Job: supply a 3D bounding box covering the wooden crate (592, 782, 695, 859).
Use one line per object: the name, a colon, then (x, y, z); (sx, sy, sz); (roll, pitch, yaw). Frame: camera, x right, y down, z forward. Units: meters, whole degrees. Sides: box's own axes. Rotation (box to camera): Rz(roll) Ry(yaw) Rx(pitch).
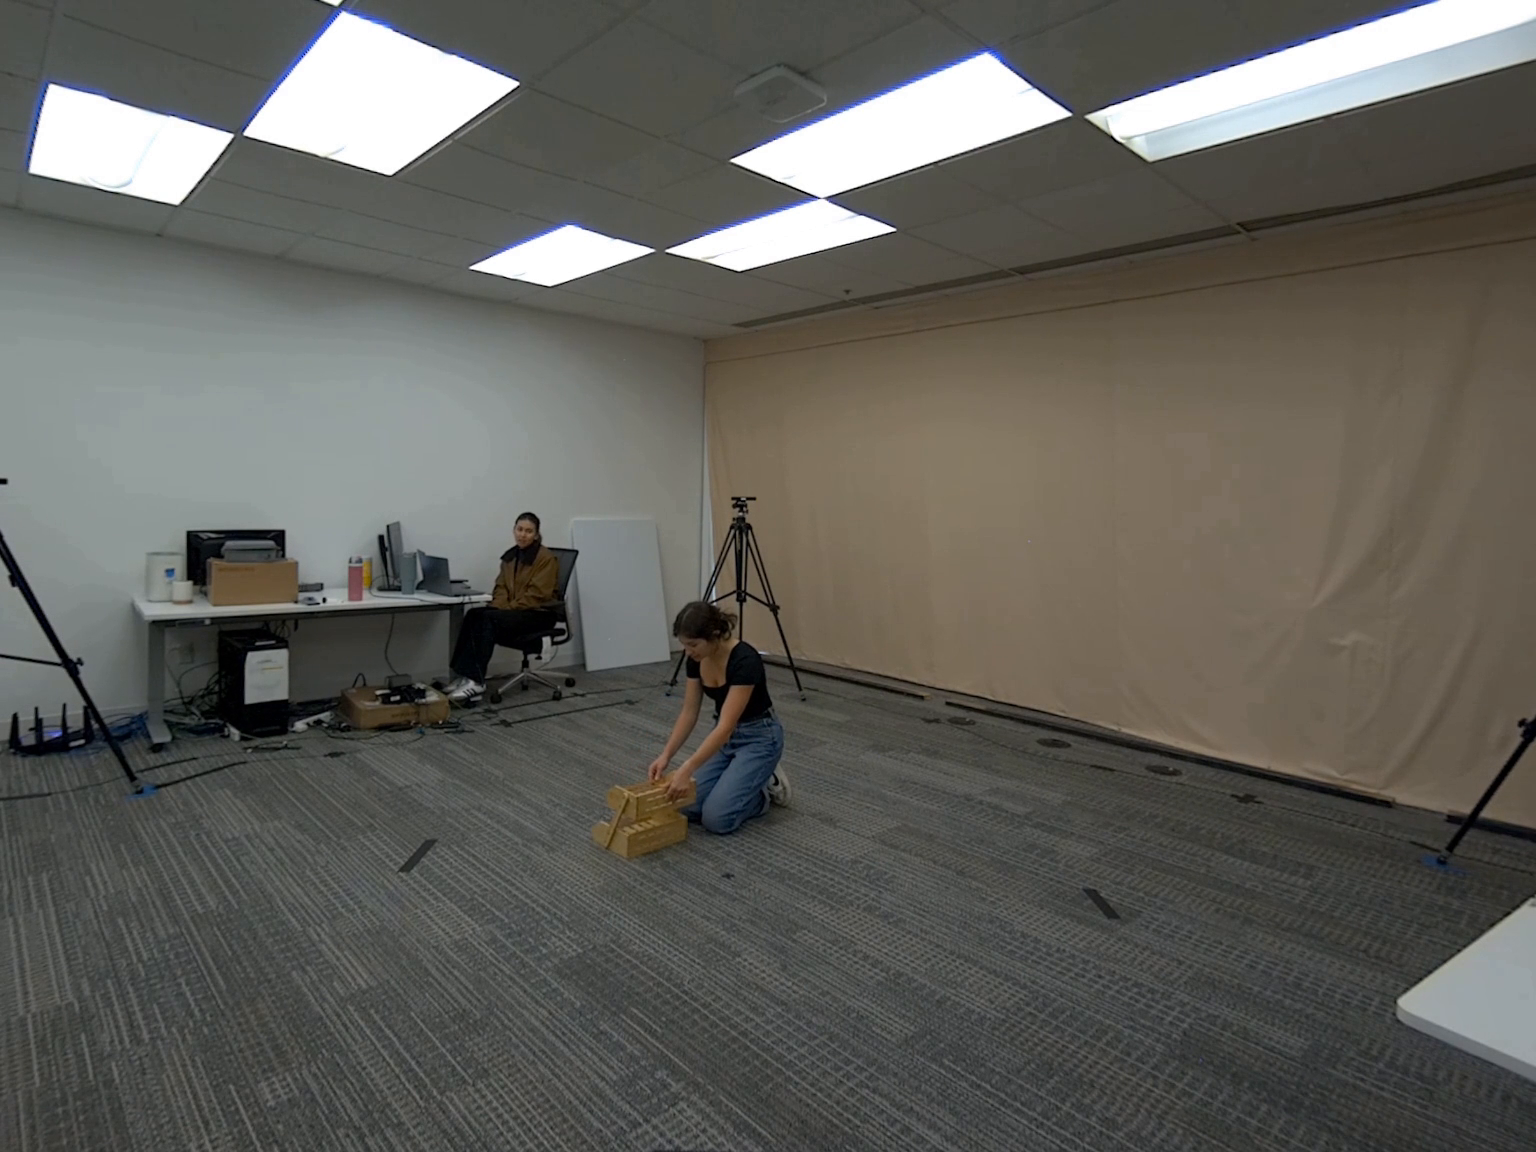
wooden crate: (-0.512, 0.939, 3.391); (0.310, 0.272, 0.317); (7, 7, 45)
